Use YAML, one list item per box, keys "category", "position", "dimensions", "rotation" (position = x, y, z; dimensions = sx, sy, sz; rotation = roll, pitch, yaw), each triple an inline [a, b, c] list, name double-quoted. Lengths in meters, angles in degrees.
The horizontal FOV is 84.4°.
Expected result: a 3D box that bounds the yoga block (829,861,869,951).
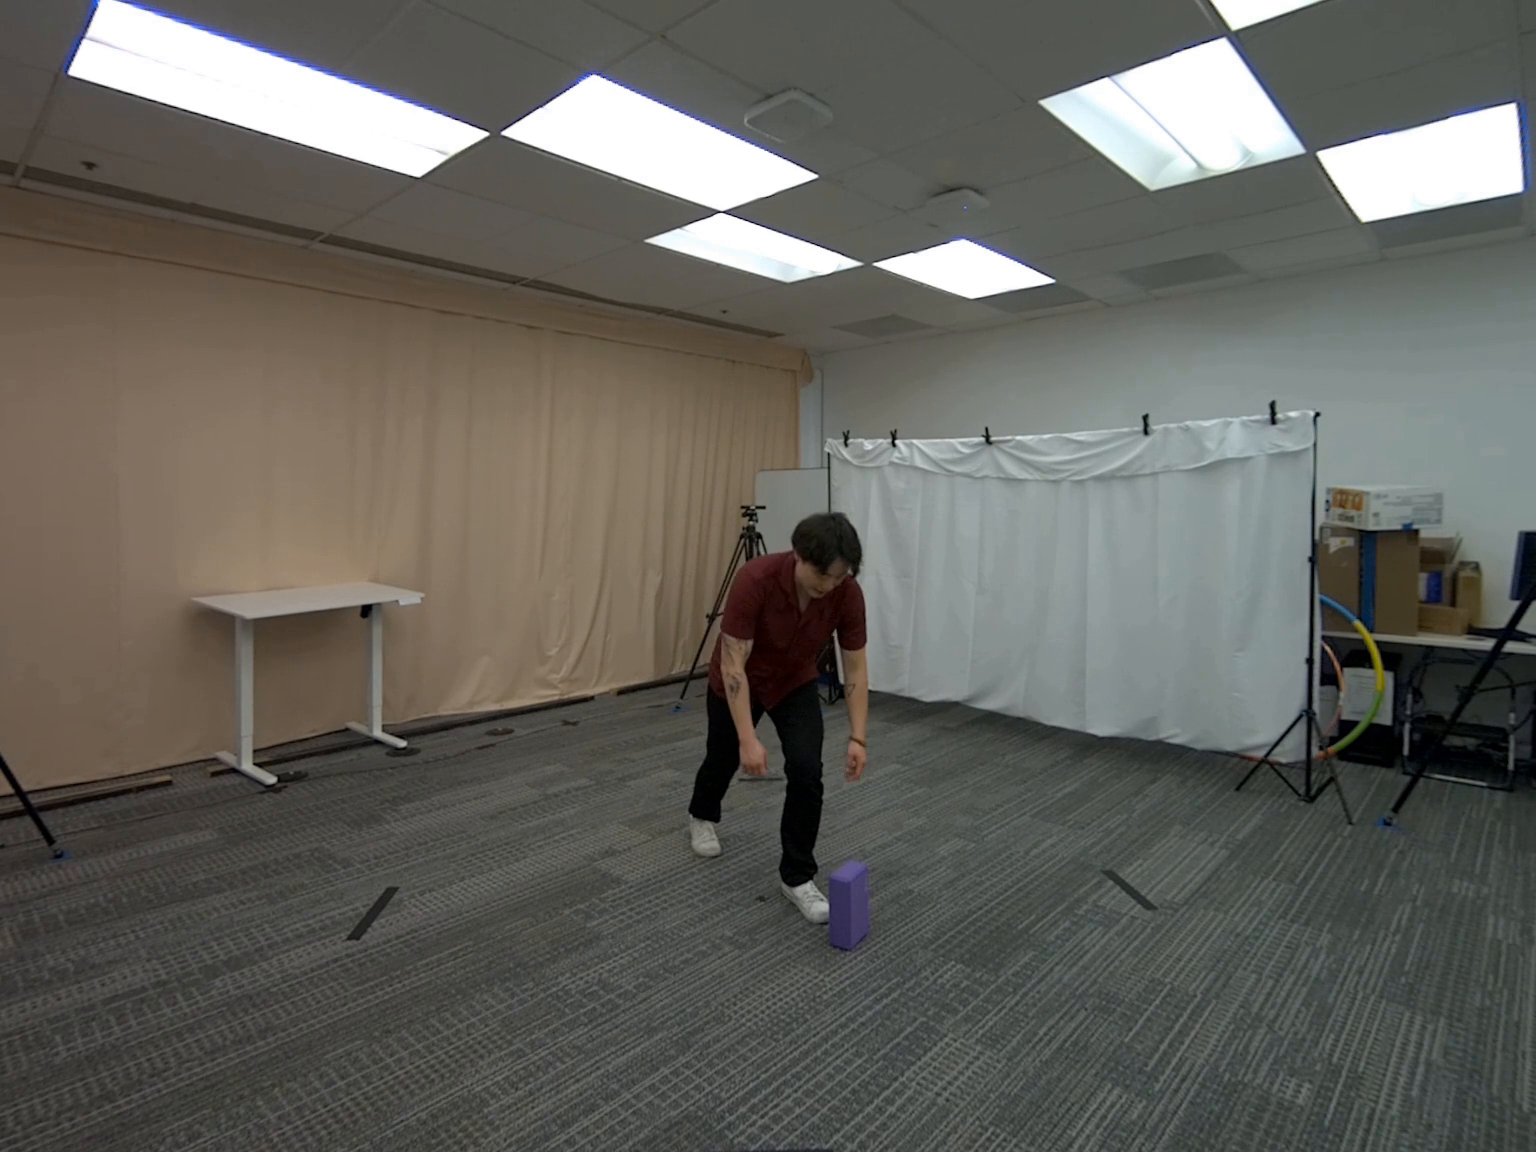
- category: "yoga block"
  position: [0.267, 1.050, 2.695]
  dimensions: [0.079, 0.229, 0.145]
  rotation: [2, 4, 31]
